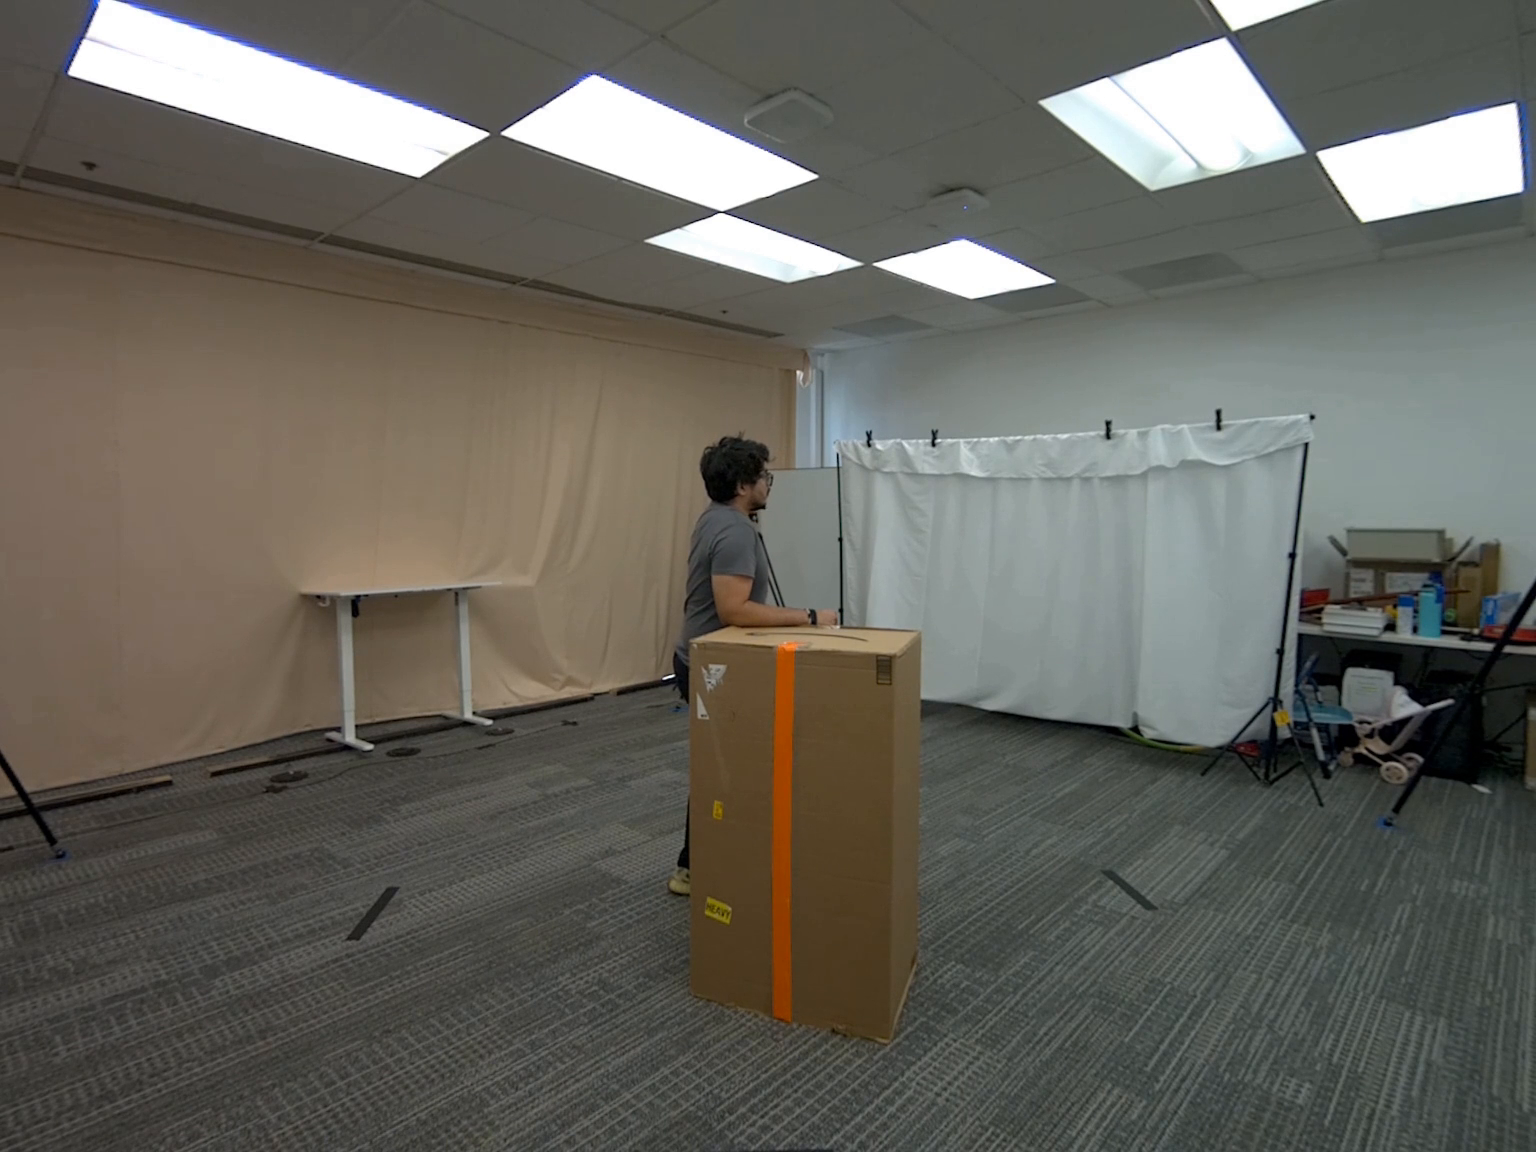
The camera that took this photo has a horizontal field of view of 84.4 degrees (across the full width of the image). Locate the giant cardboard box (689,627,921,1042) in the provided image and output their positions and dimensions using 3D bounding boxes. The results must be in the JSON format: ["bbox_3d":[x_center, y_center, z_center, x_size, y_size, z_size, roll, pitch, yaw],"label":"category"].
[{"bbox_3d":[0.125,0.681,2.450,0.591,1.024,0.417,1,3,23],"label":"giant cardboard box"}]
